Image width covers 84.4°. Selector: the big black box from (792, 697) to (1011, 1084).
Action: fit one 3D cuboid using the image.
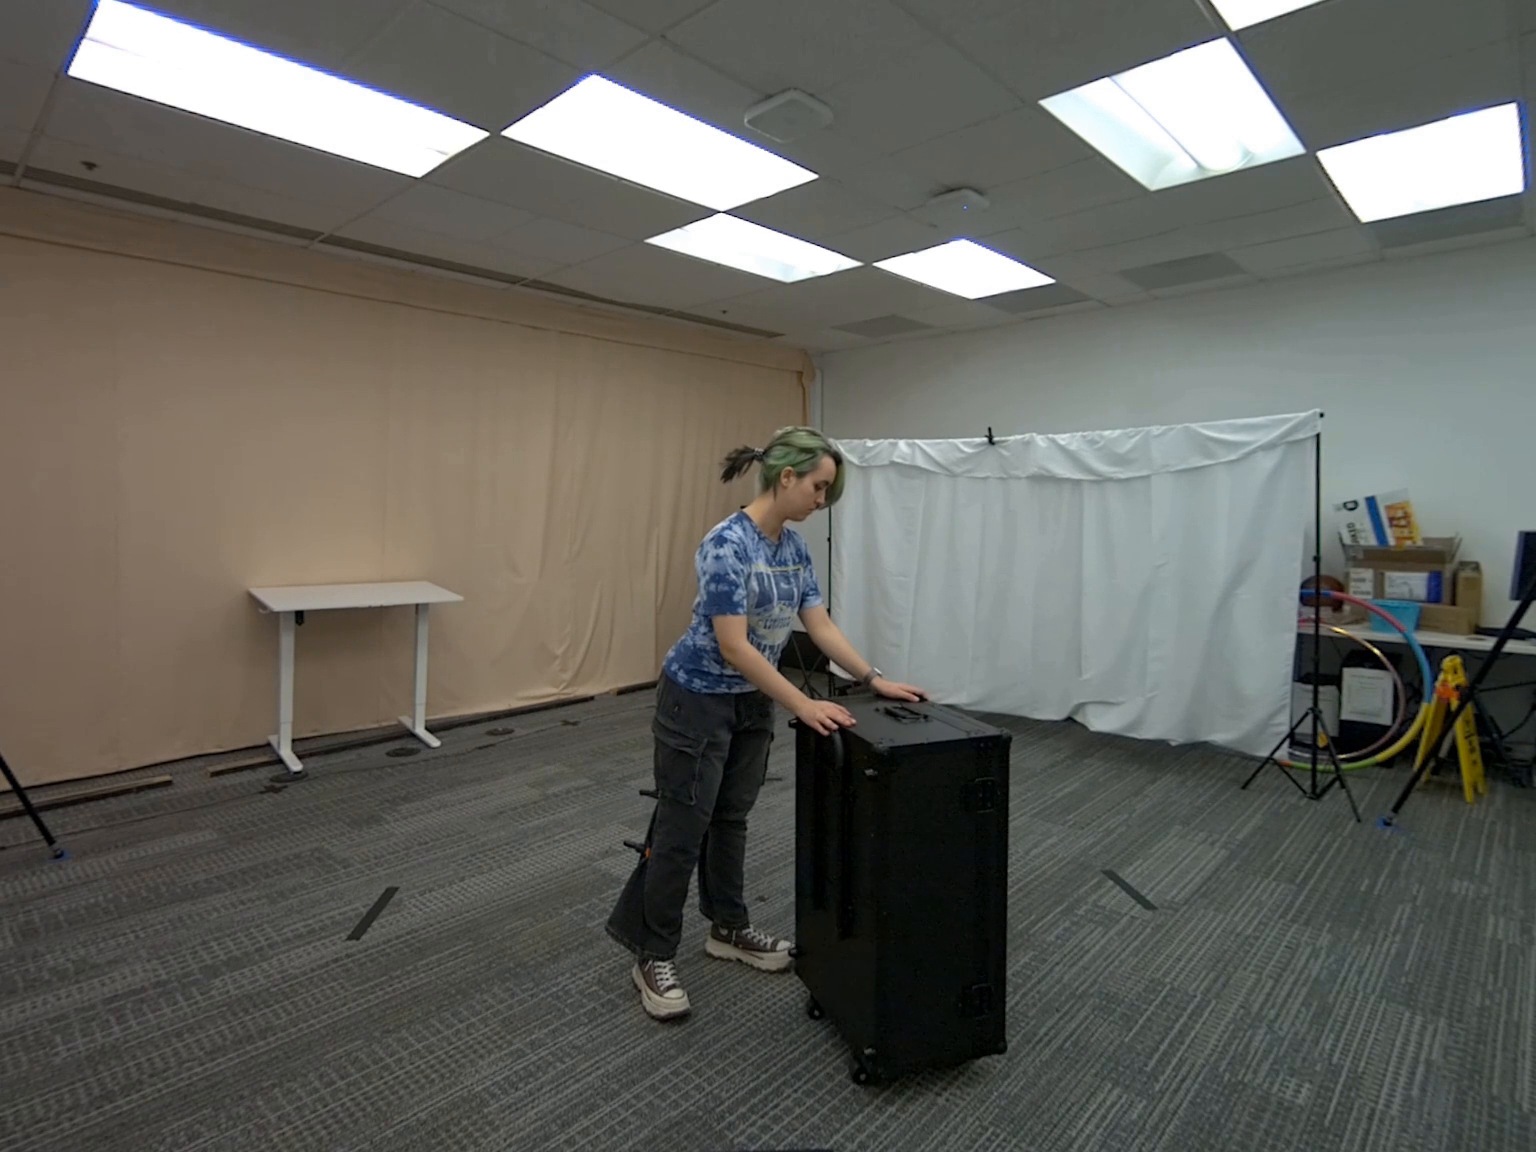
[{"bbox_3d":[0.325,0.785,2.180,0.389,0.859,0.533,-1,4,-20],"label":"big black box"}]
